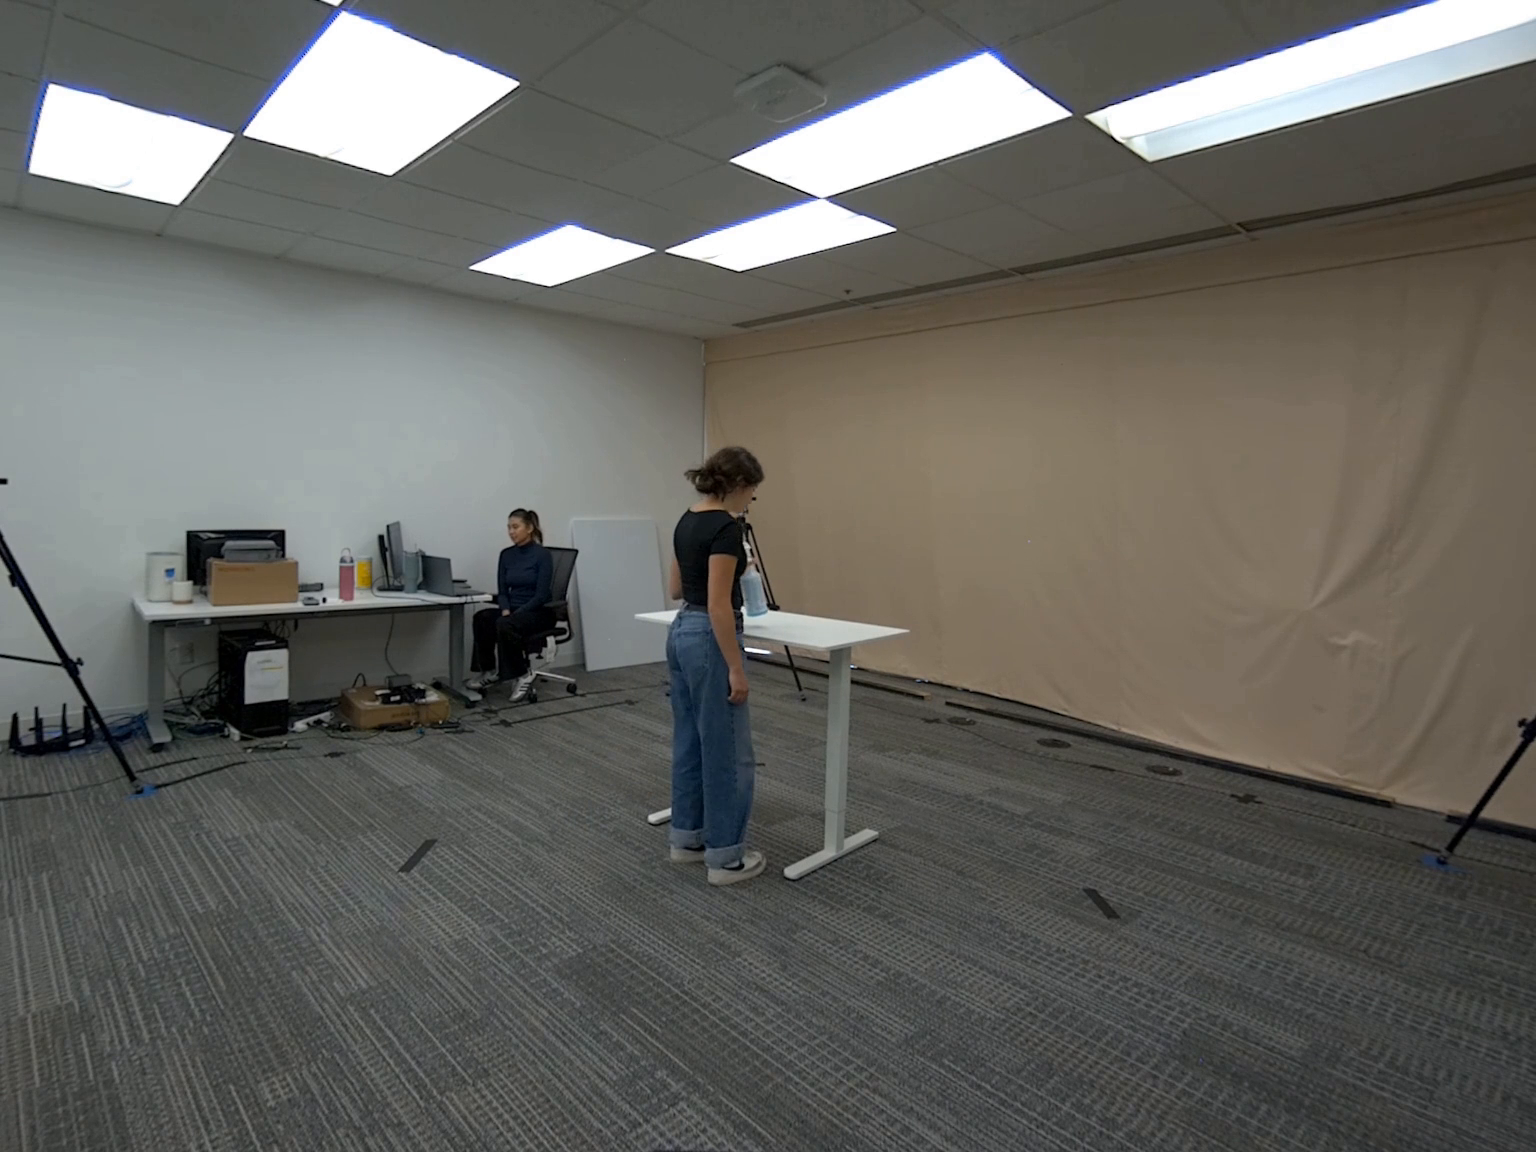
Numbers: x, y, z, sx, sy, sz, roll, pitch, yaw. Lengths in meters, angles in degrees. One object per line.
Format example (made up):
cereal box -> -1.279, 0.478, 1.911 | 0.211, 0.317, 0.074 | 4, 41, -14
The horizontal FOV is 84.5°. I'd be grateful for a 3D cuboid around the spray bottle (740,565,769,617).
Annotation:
spray bottle -> -0.073, 0.013, 3.366 | 0.088, 0.296, 0.089 | -15, 6, -32
